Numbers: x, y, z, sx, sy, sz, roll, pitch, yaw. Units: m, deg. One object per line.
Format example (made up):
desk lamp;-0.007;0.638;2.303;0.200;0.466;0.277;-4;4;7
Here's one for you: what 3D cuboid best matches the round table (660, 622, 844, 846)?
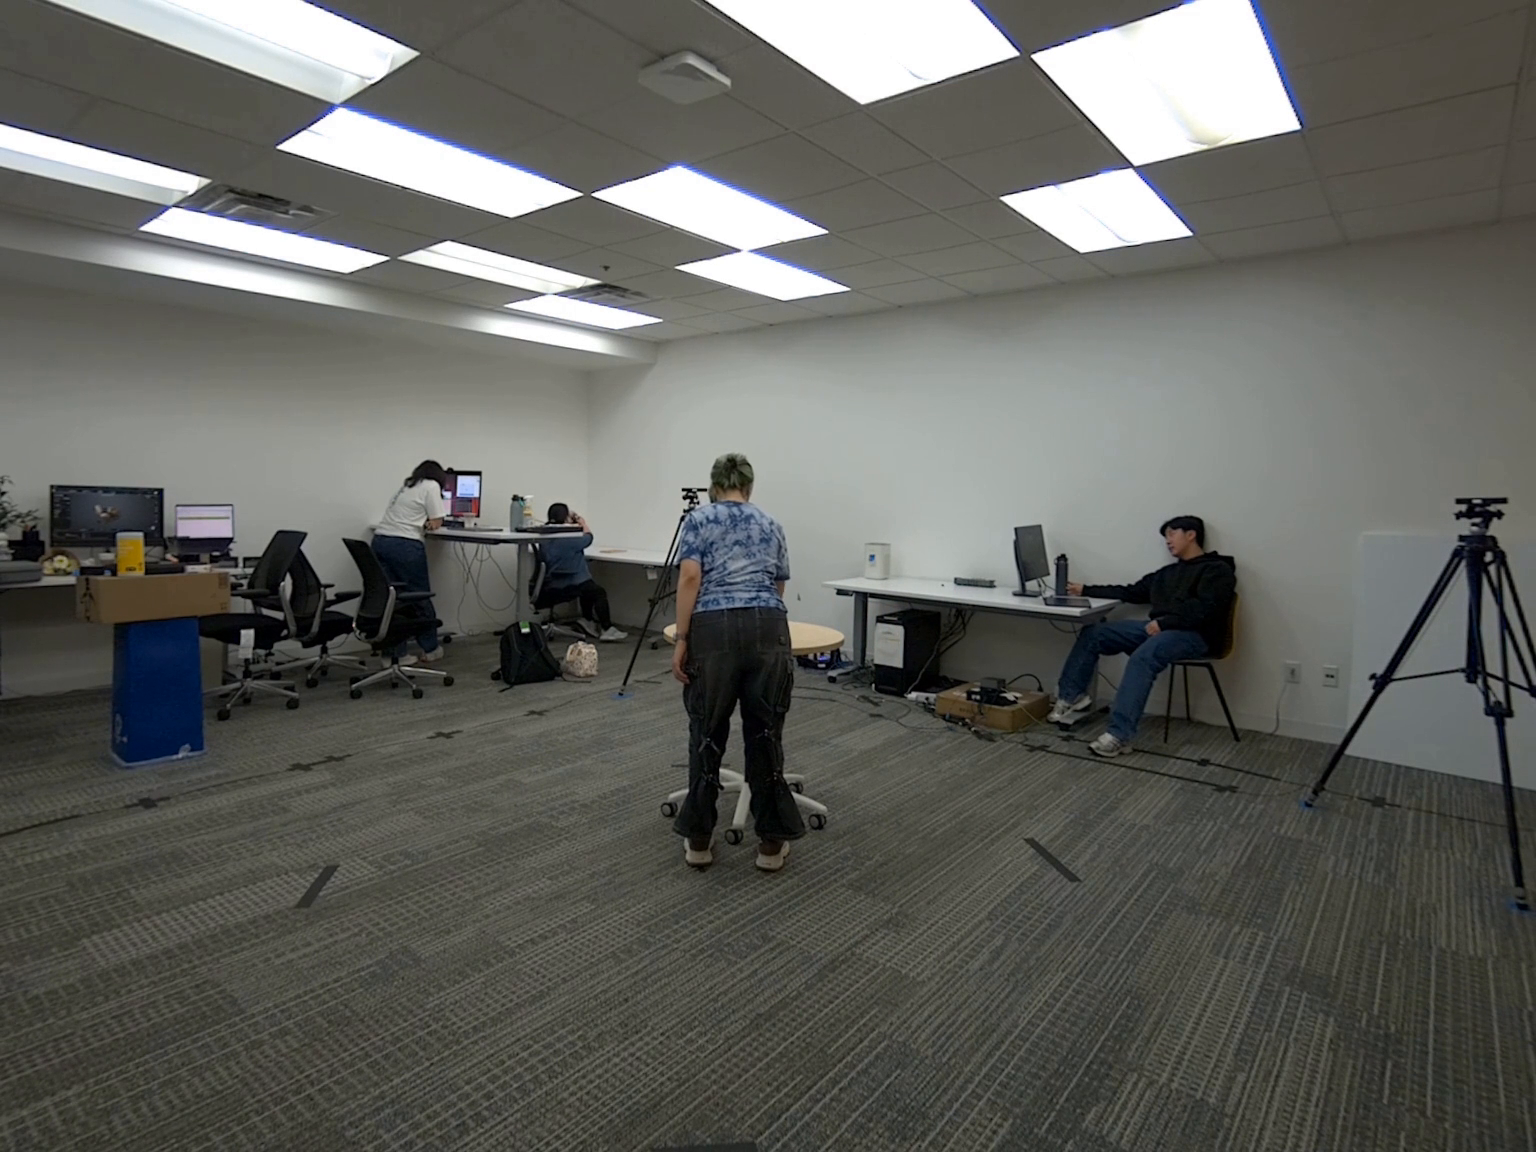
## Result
round table;-0.071;0.626;3.629;0.784;0.784;0.789;1;4;-2
